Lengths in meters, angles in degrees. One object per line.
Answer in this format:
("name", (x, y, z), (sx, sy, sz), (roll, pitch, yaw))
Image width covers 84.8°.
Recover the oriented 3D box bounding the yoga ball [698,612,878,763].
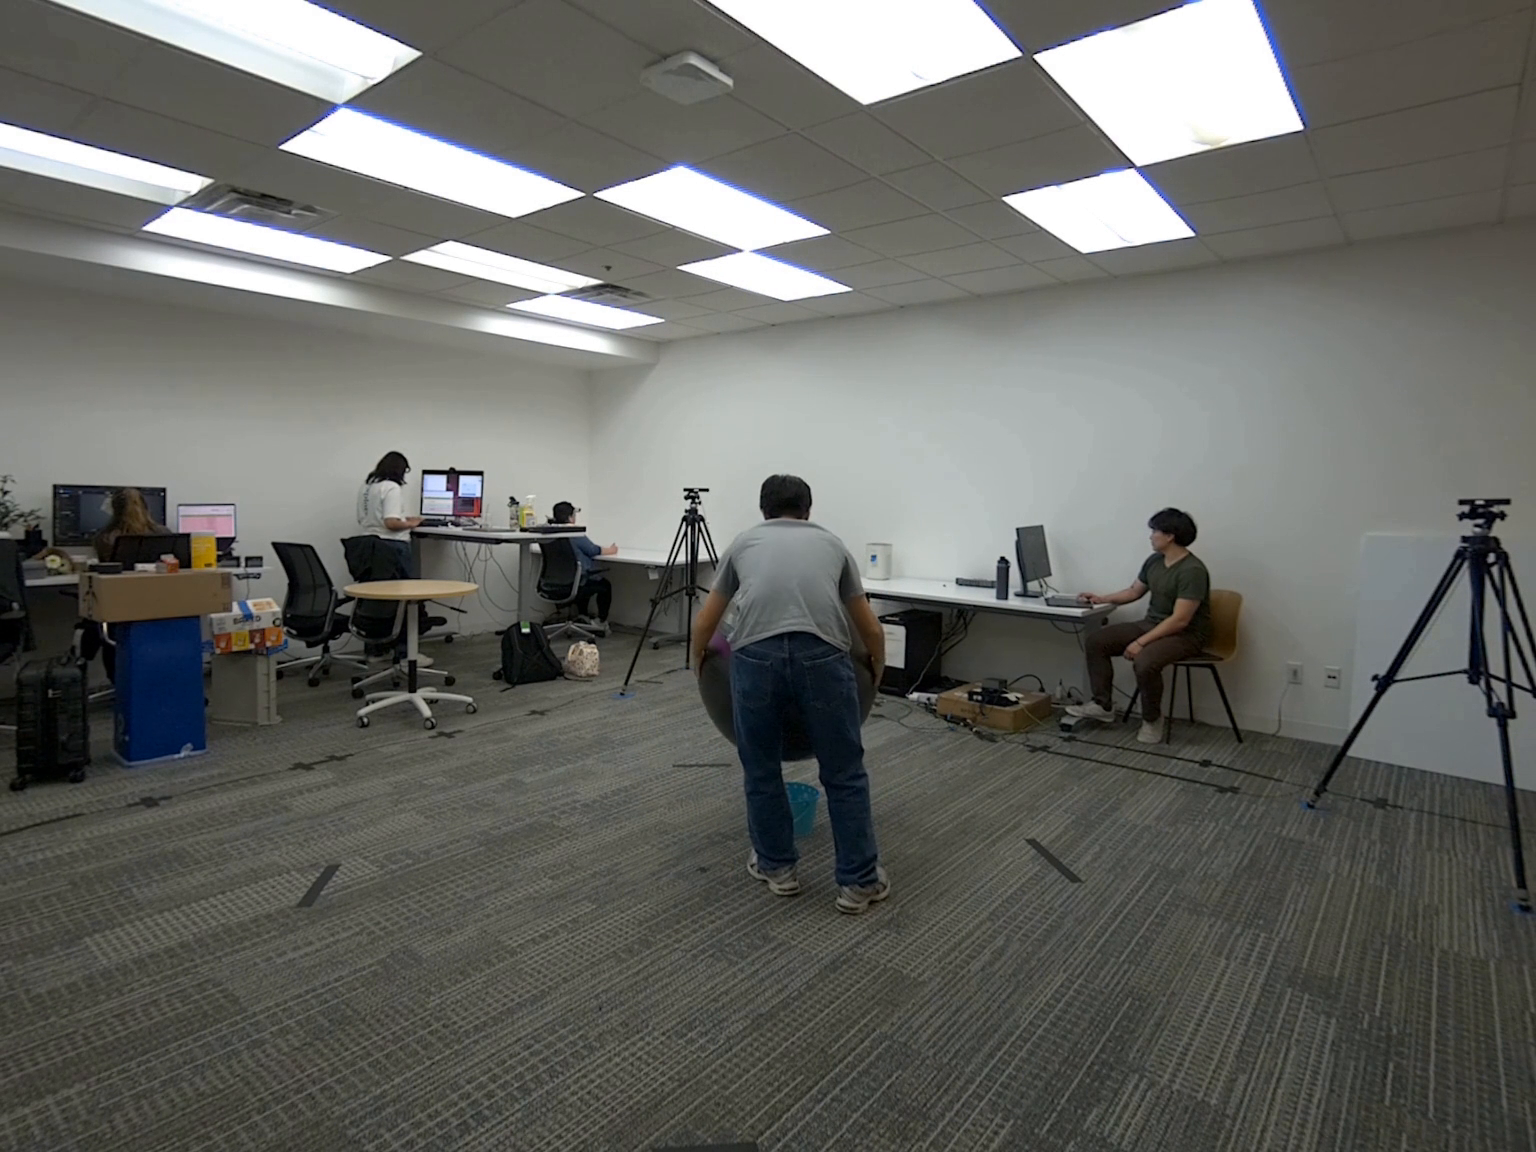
("yoga ball", (0.083, 0.378, 3.559), (0.757, 0.756, 0.761), (1, 4, -2))
